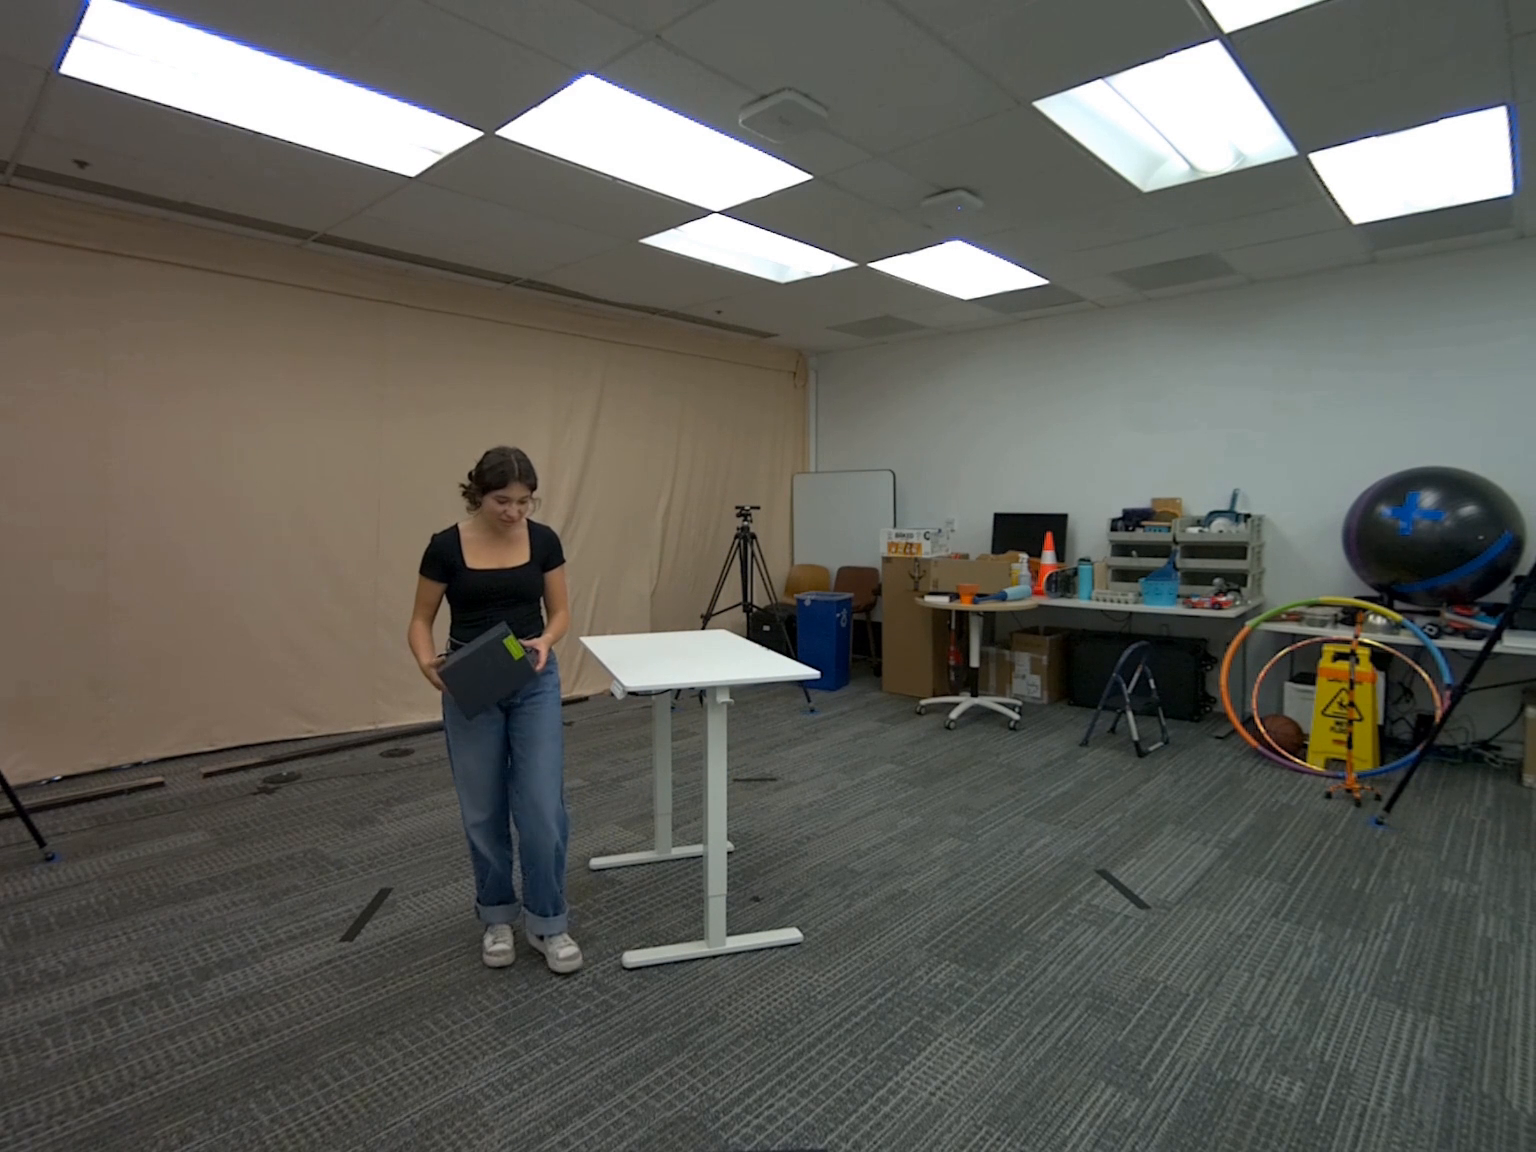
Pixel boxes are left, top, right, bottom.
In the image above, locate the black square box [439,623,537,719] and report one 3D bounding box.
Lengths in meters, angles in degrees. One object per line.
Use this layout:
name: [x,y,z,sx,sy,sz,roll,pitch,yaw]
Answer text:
black square box: [-0.776,0.255,2.339,0.215,0.154,0.232,-34,10,-15]
